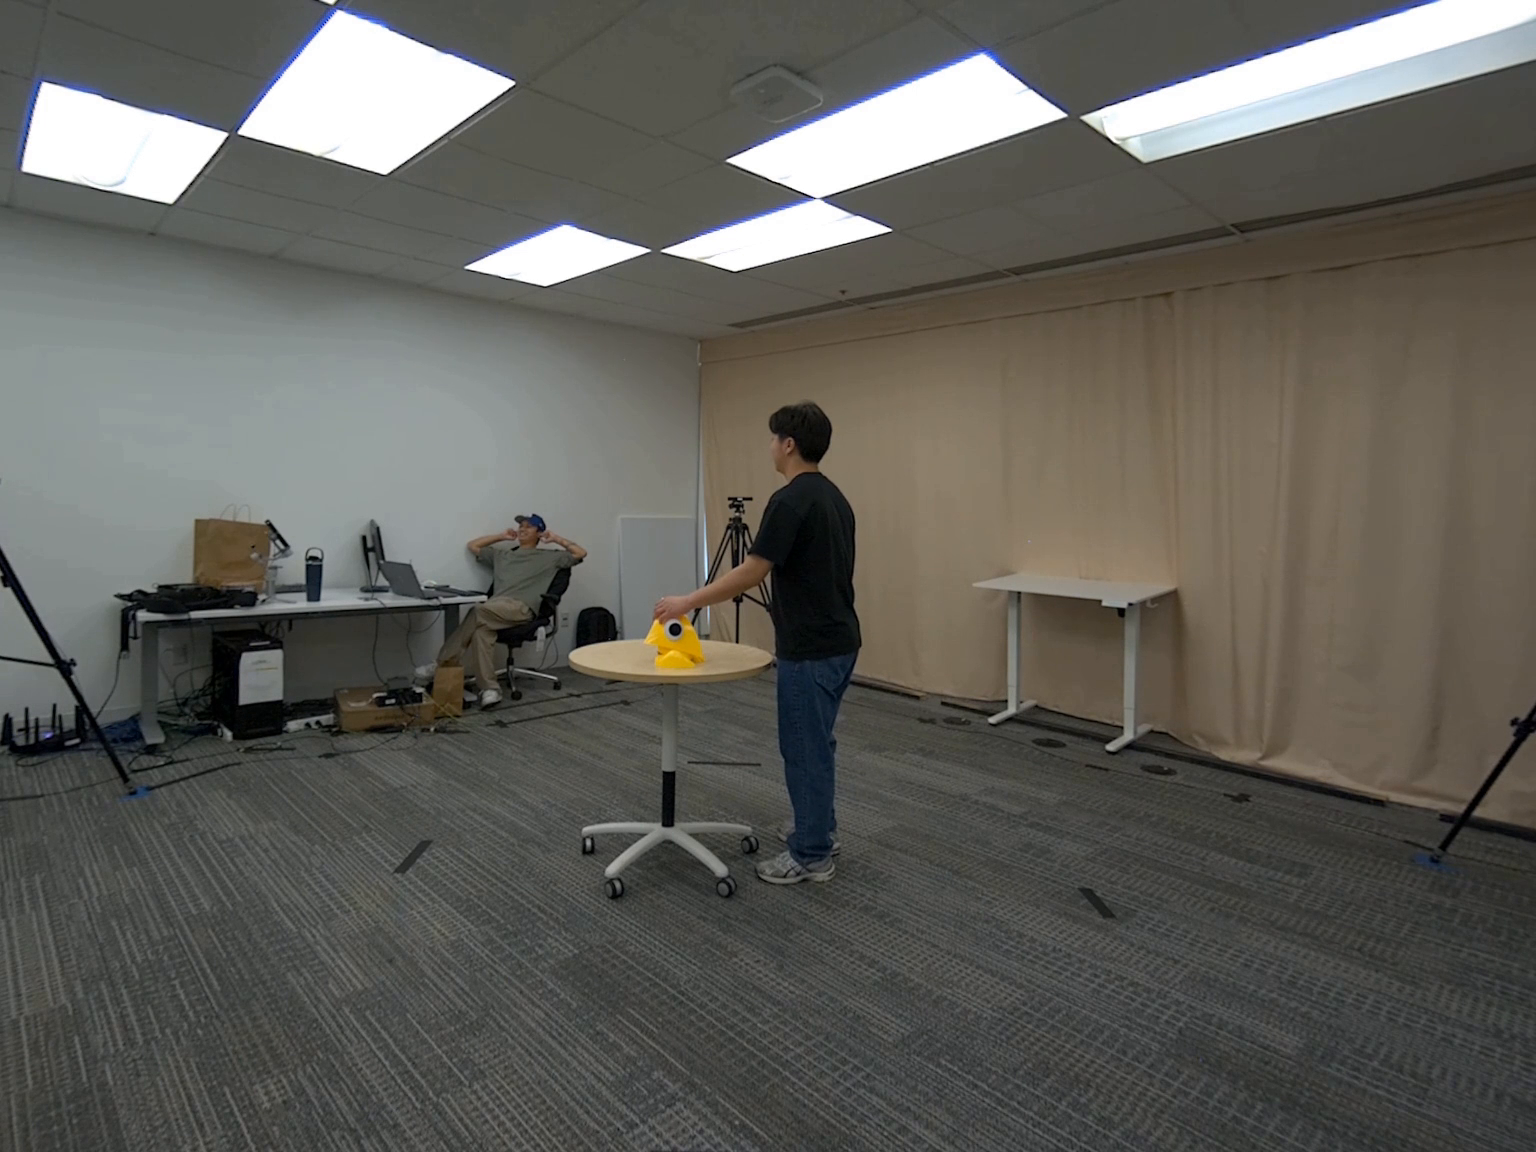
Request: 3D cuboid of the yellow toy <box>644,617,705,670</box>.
[{"bbox_3d":[-0.326,0.197,3.033,0.195,0.230,0.203,3,5,14],"label":"yellow toy"}]
